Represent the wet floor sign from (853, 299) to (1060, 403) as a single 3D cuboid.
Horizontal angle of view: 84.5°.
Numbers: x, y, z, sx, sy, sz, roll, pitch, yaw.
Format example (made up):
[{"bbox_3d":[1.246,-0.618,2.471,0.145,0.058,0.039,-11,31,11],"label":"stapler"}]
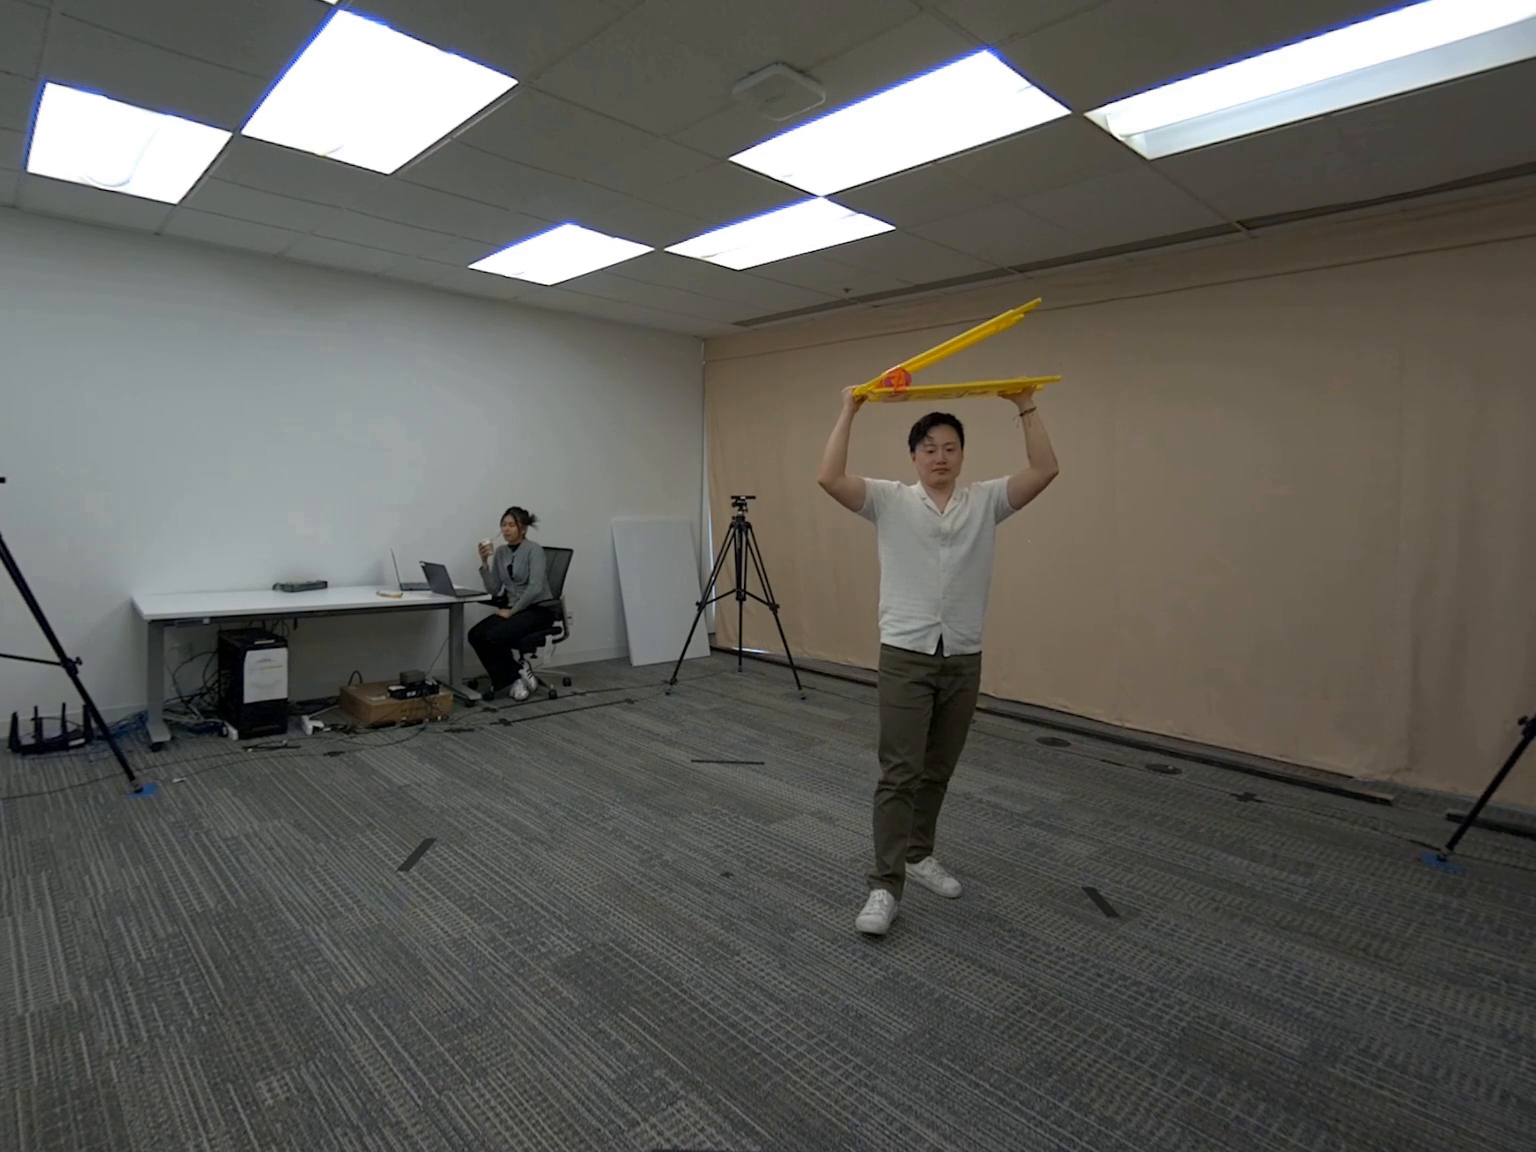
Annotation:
[{"bbox_3d":[0.601,-0.692,2.843,0.647,0.290,0.282,-14,1,3],"label":"wet floor sign"}]
